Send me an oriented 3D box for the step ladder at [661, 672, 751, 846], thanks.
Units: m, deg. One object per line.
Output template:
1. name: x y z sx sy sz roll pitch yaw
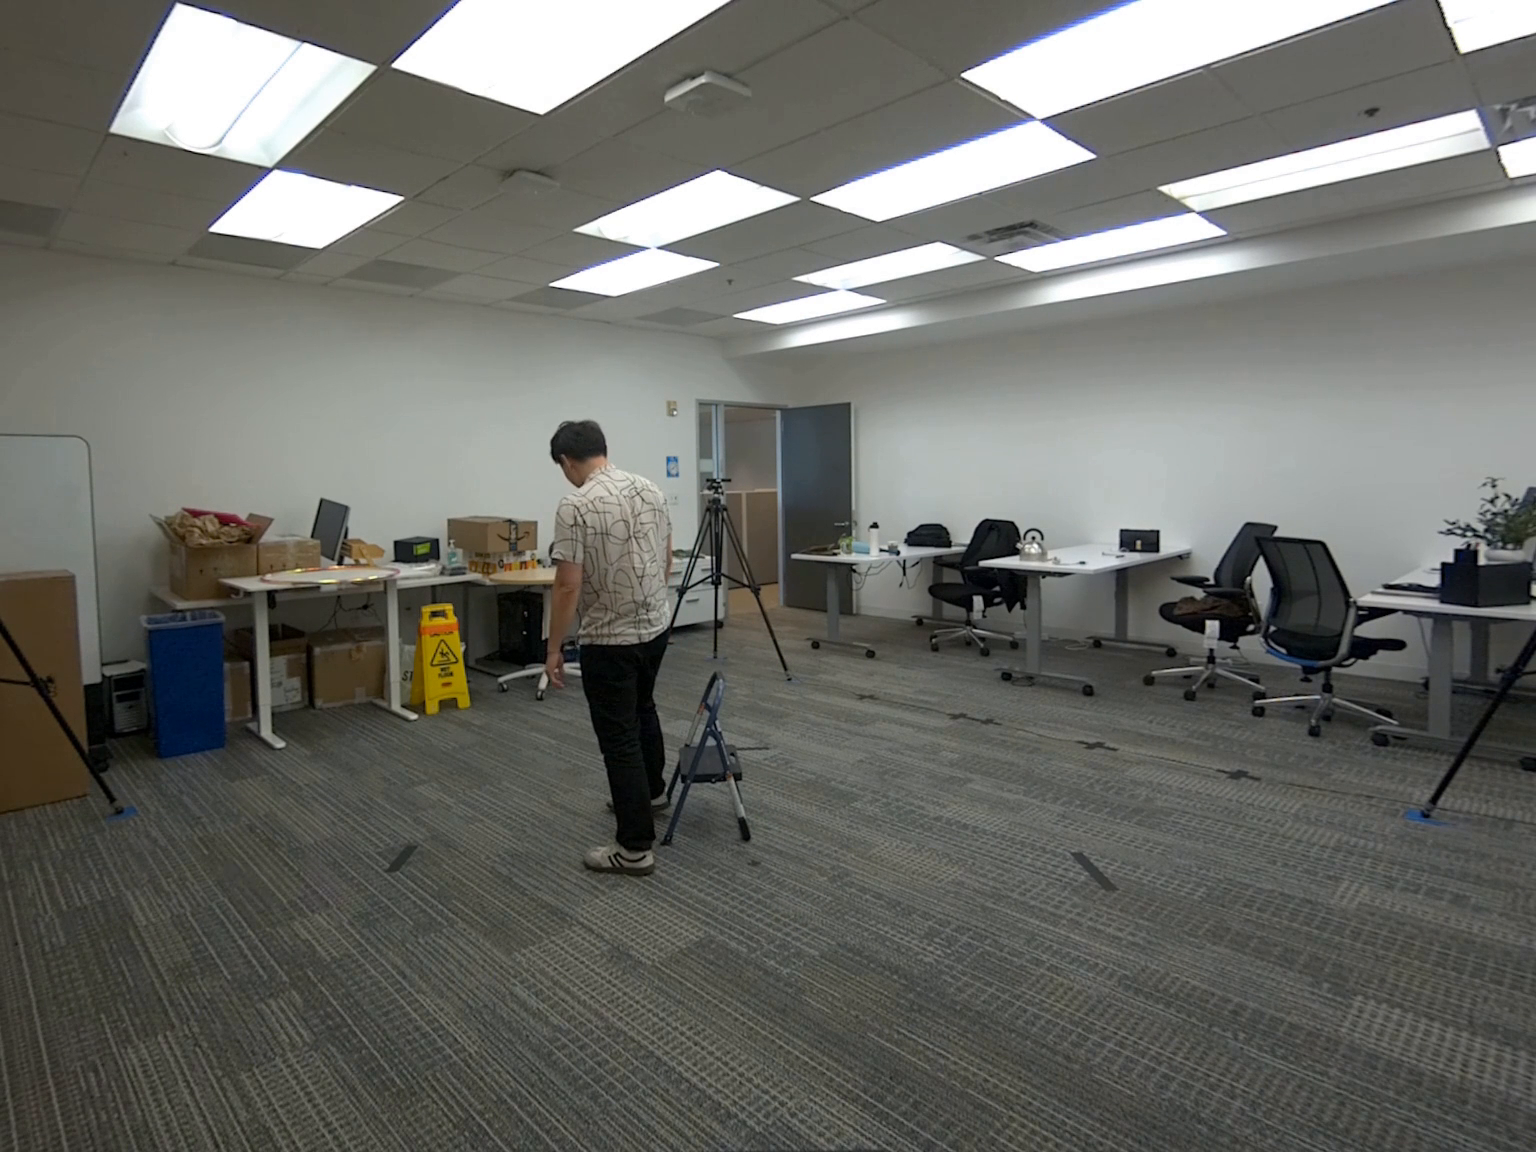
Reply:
1. step ladder: -0.260 0.707 3.468 0.347 0.604 0.435 -1 4 -6
